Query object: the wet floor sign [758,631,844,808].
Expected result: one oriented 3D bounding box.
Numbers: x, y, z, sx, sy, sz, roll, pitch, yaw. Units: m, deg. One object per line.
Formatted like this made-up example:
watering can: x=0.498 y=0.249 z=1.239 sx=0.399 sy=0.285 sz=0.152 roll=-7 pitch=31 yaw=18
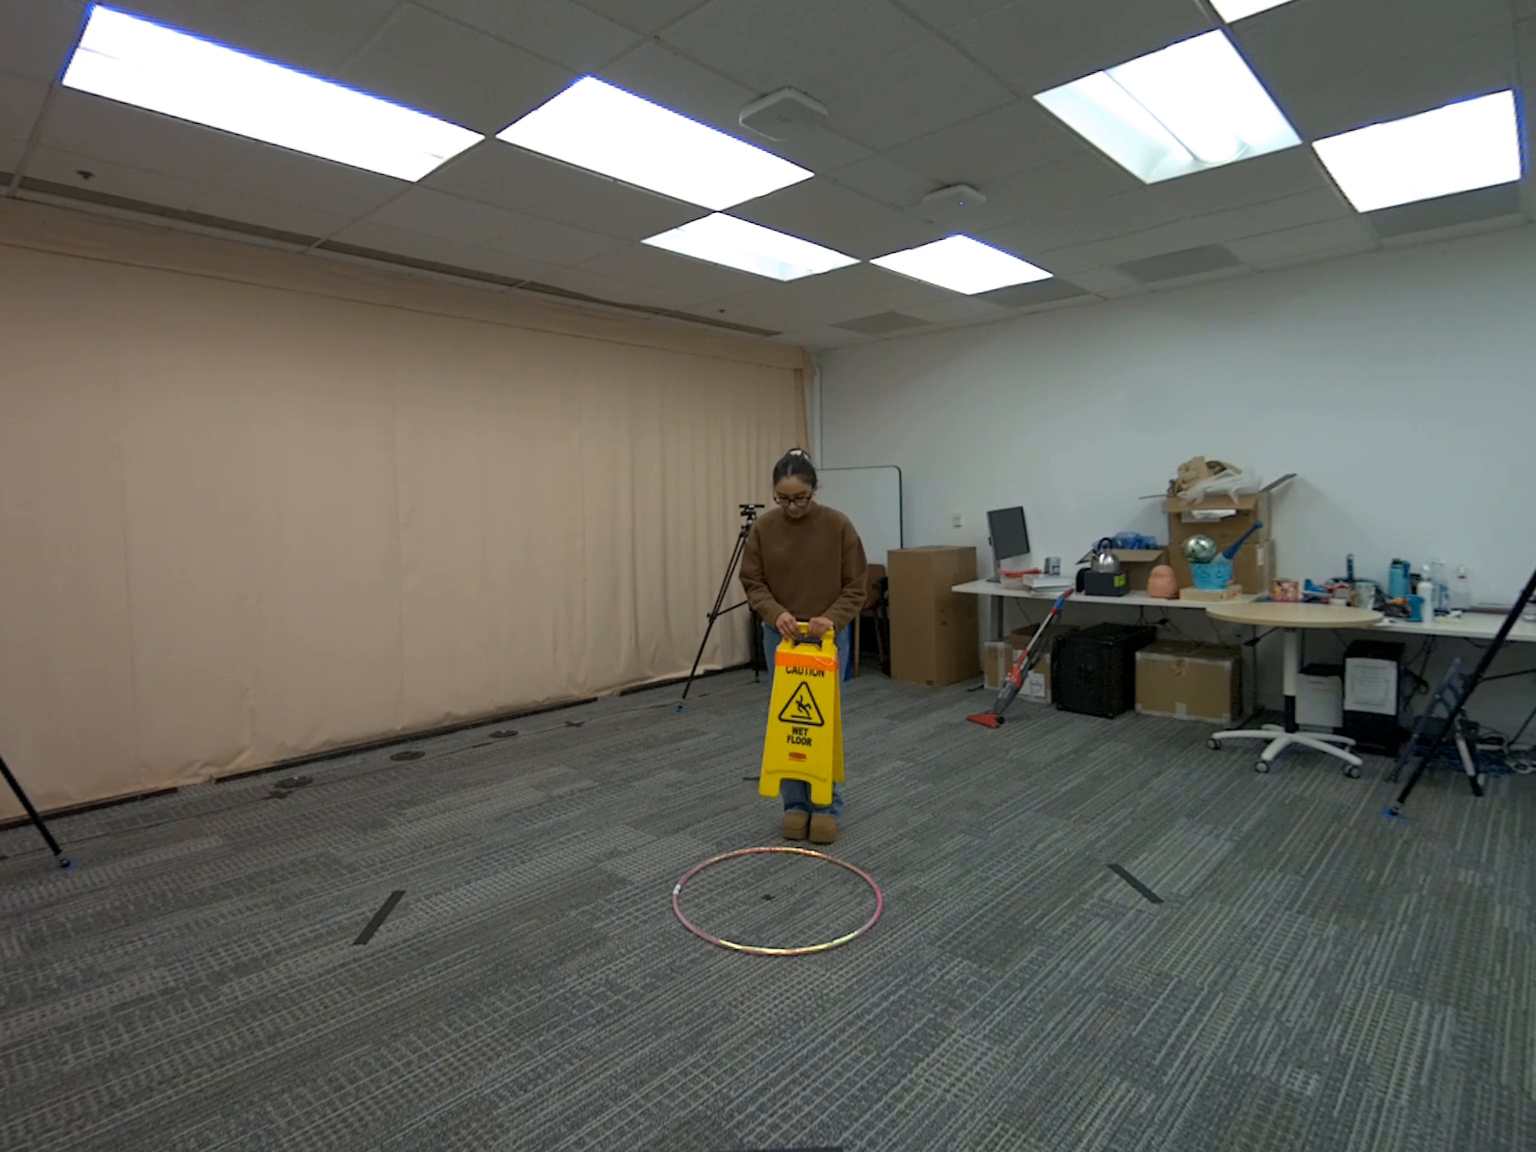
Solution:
wet floor sign: x=0.147 y=0.513 z=3.260 sx=0.287 sy=0.644 sz=0.285 roll=2 pitch=6 yaw=16
